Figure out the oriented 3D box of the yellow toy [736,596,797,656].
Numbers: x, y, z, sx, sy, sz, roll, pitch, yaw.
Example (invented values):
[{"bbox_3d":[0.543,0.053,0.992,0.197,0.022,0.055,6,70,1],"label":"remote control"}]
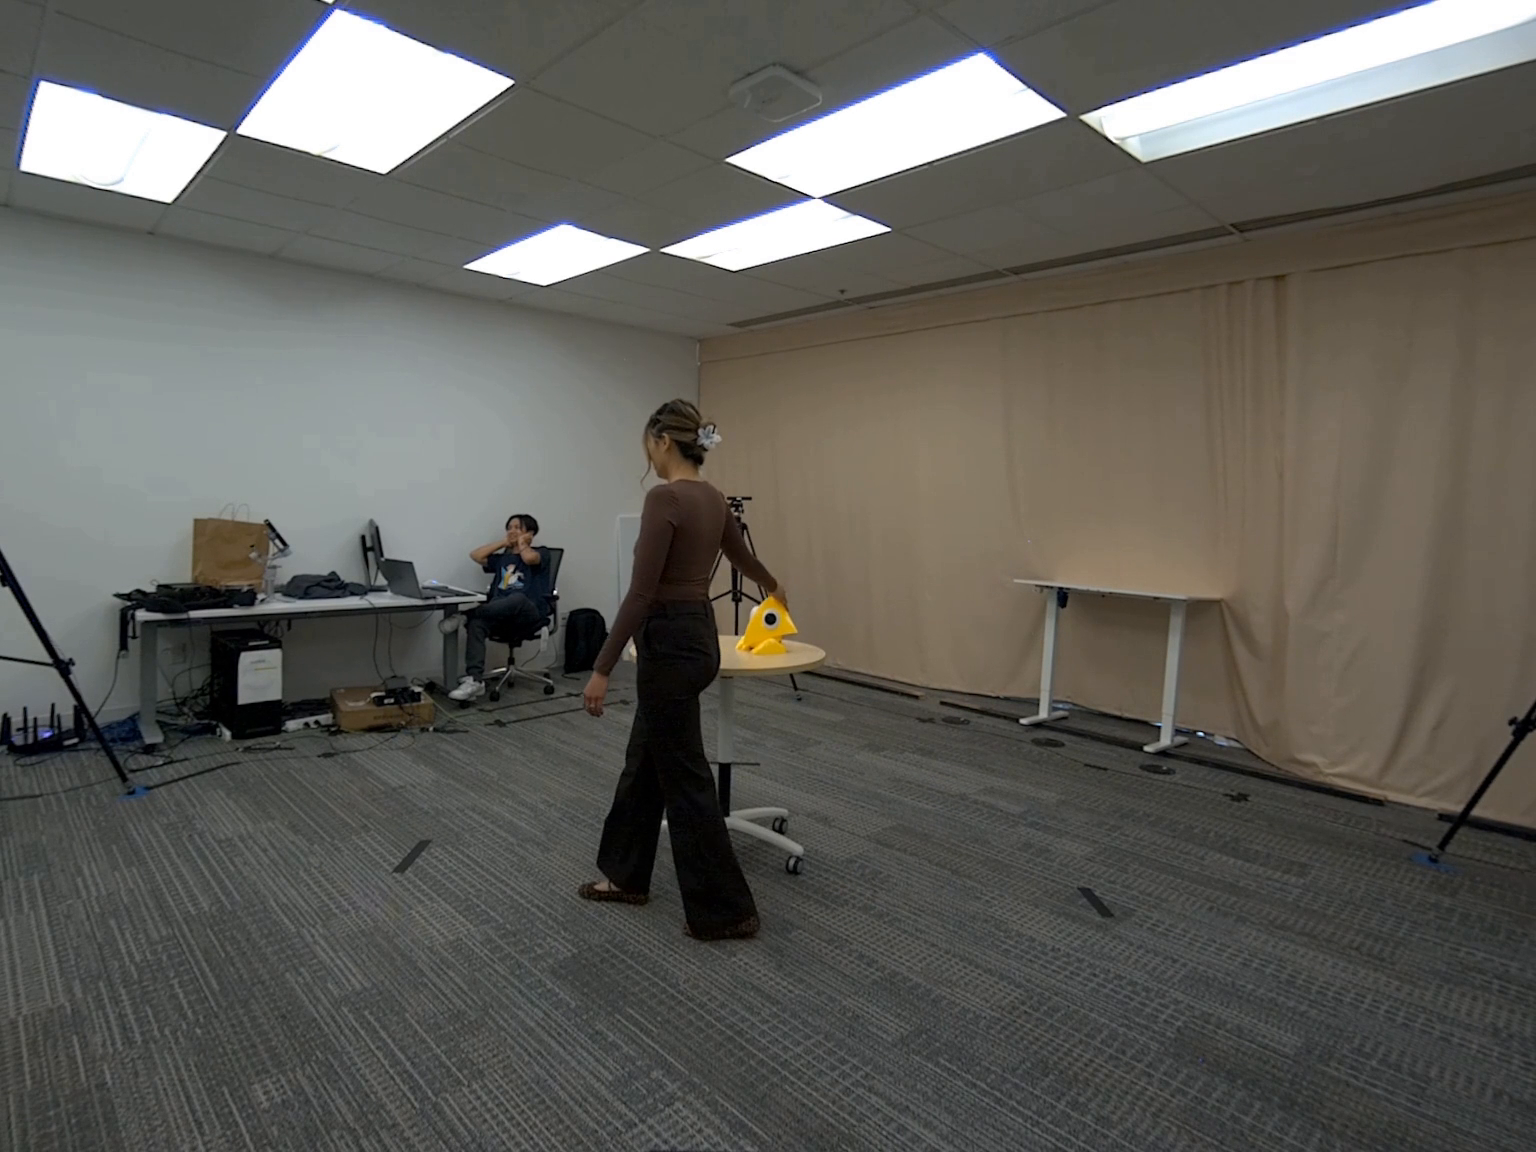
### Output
[{"bbox_3d":[-0.023,0.179,3.316,0.189,0.230,0.209,-1,3,-31],"label":"yellow toy"}]
